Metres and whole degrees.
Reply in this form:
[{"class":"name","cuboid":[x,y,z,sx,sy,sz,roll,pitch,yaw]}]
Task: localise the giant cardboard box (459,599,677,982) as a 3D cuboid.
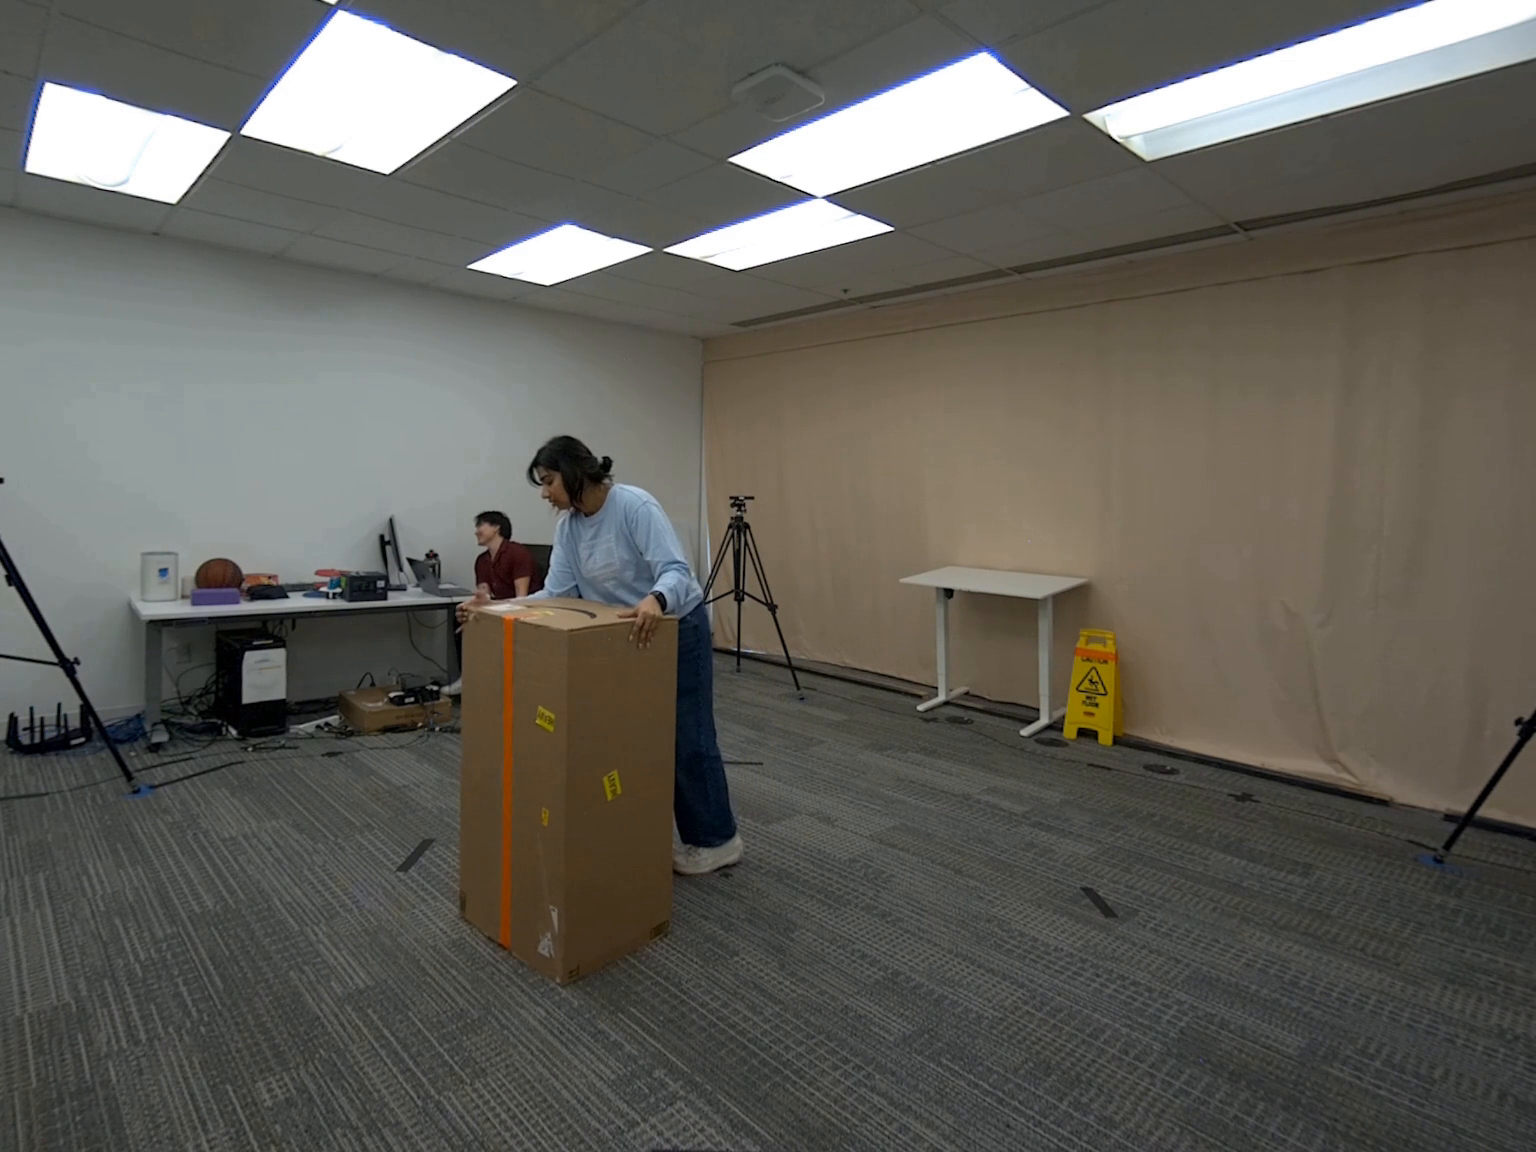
[{"class":"giant cardboard box","cuboid":[-0.653,0.618,2.679,0.599,1.024,0.437,5,6,43]}]
